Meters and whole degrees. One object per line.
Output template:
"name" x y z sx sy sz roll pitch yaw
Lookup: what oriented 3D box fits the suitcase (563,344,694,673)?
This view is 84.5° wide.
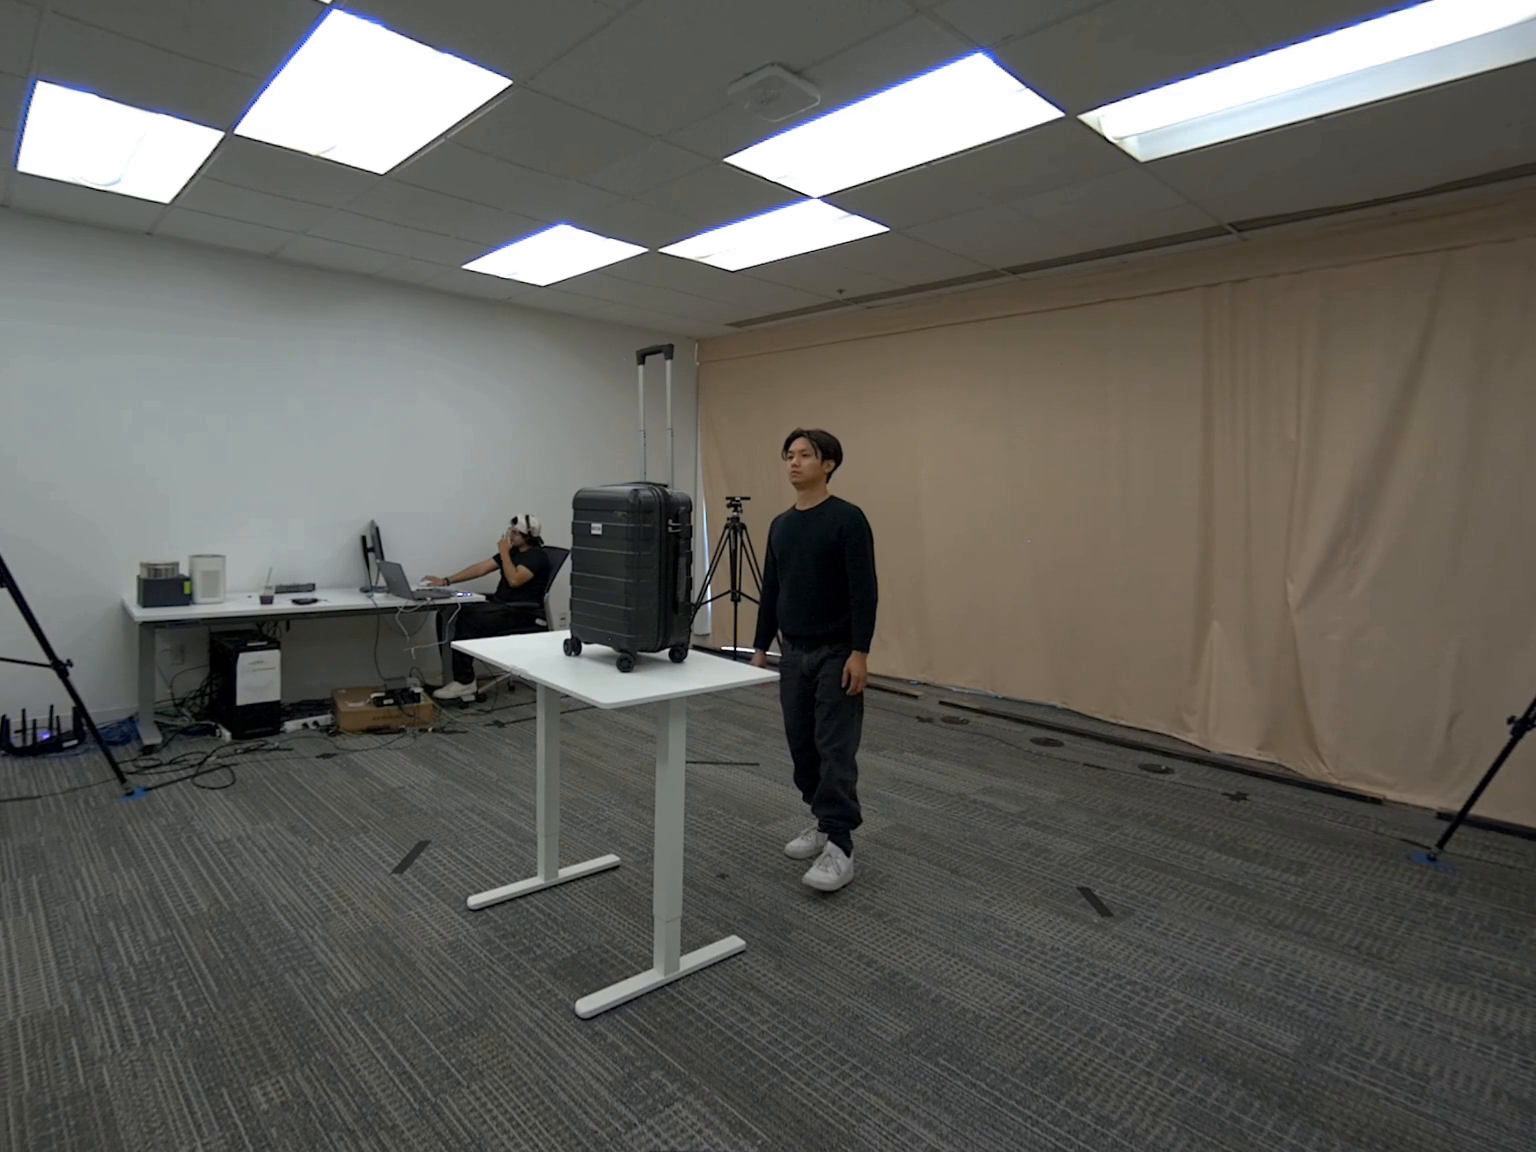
"suitcase" -0.431 -0.217 2.588 0.251 0.975 0.394 -4 6 -43
